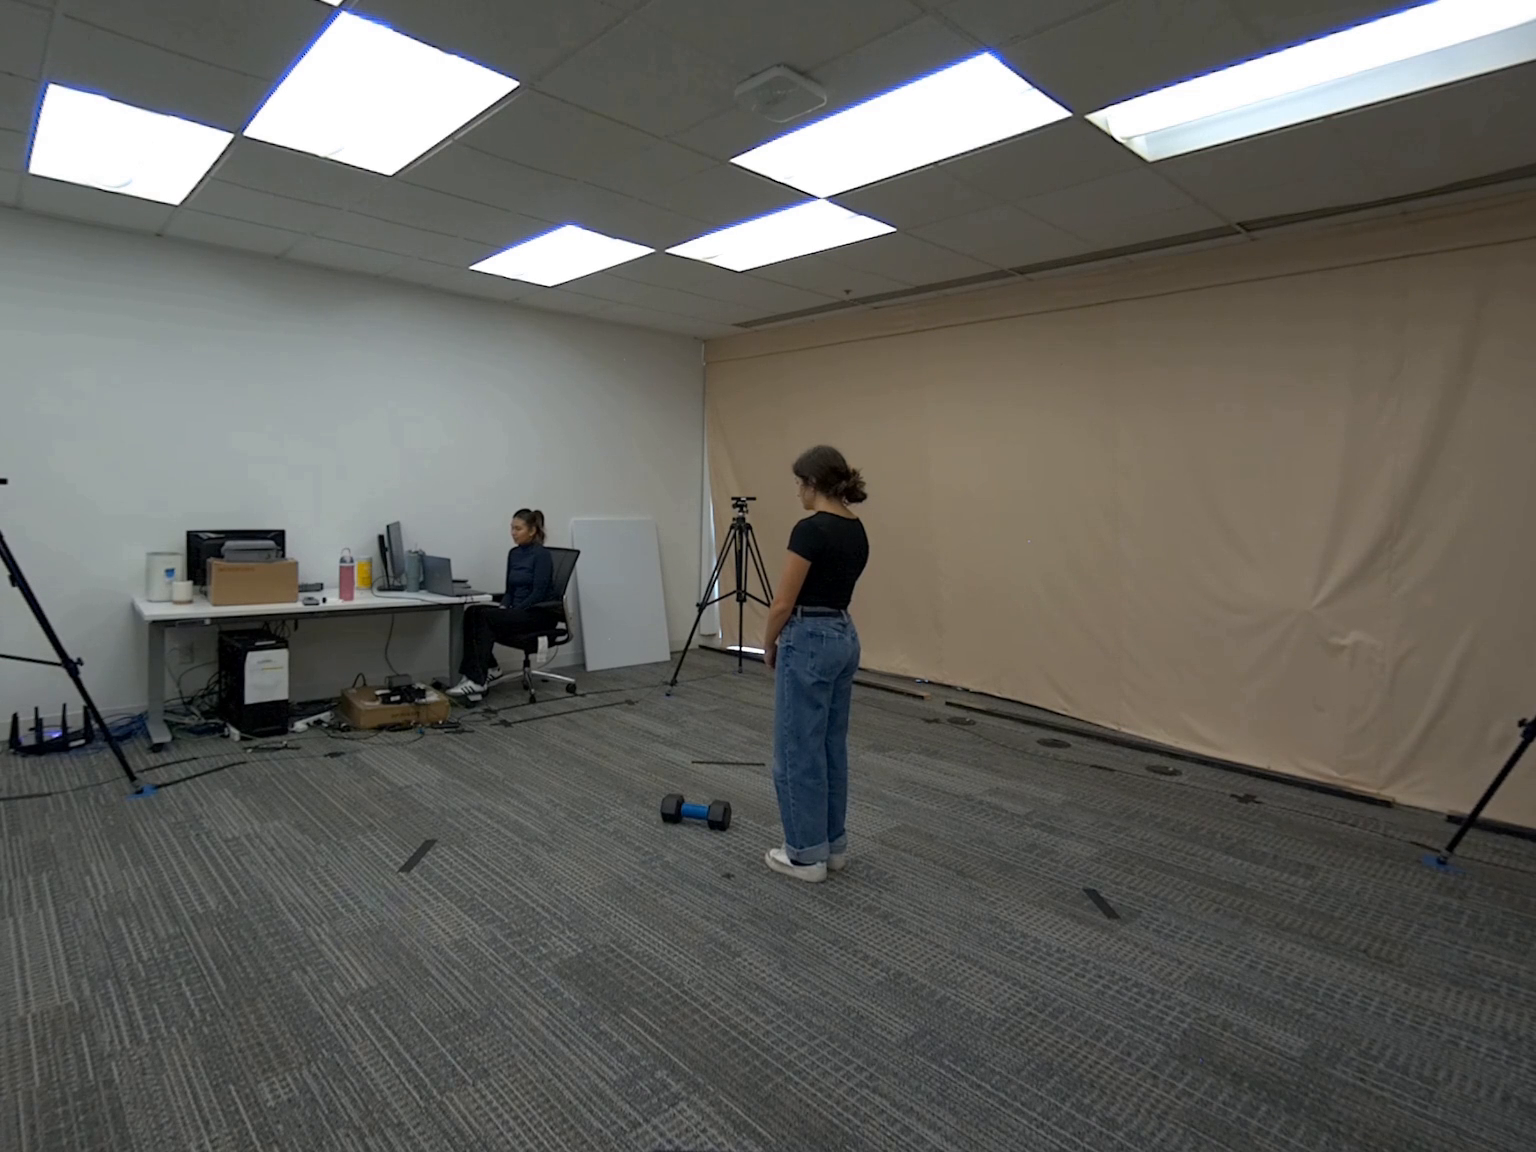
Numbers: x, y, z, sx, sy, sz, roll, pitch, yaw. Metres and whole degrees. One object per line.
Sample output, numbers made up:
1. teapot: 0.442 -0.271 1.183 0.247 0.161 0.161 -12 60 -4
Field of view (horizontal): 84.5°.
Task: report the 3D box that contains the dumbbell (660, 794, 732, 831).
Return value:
1. dumbbell: -0.315 1.005 3.593 0.298 0.124 0.106 3 -25 17
